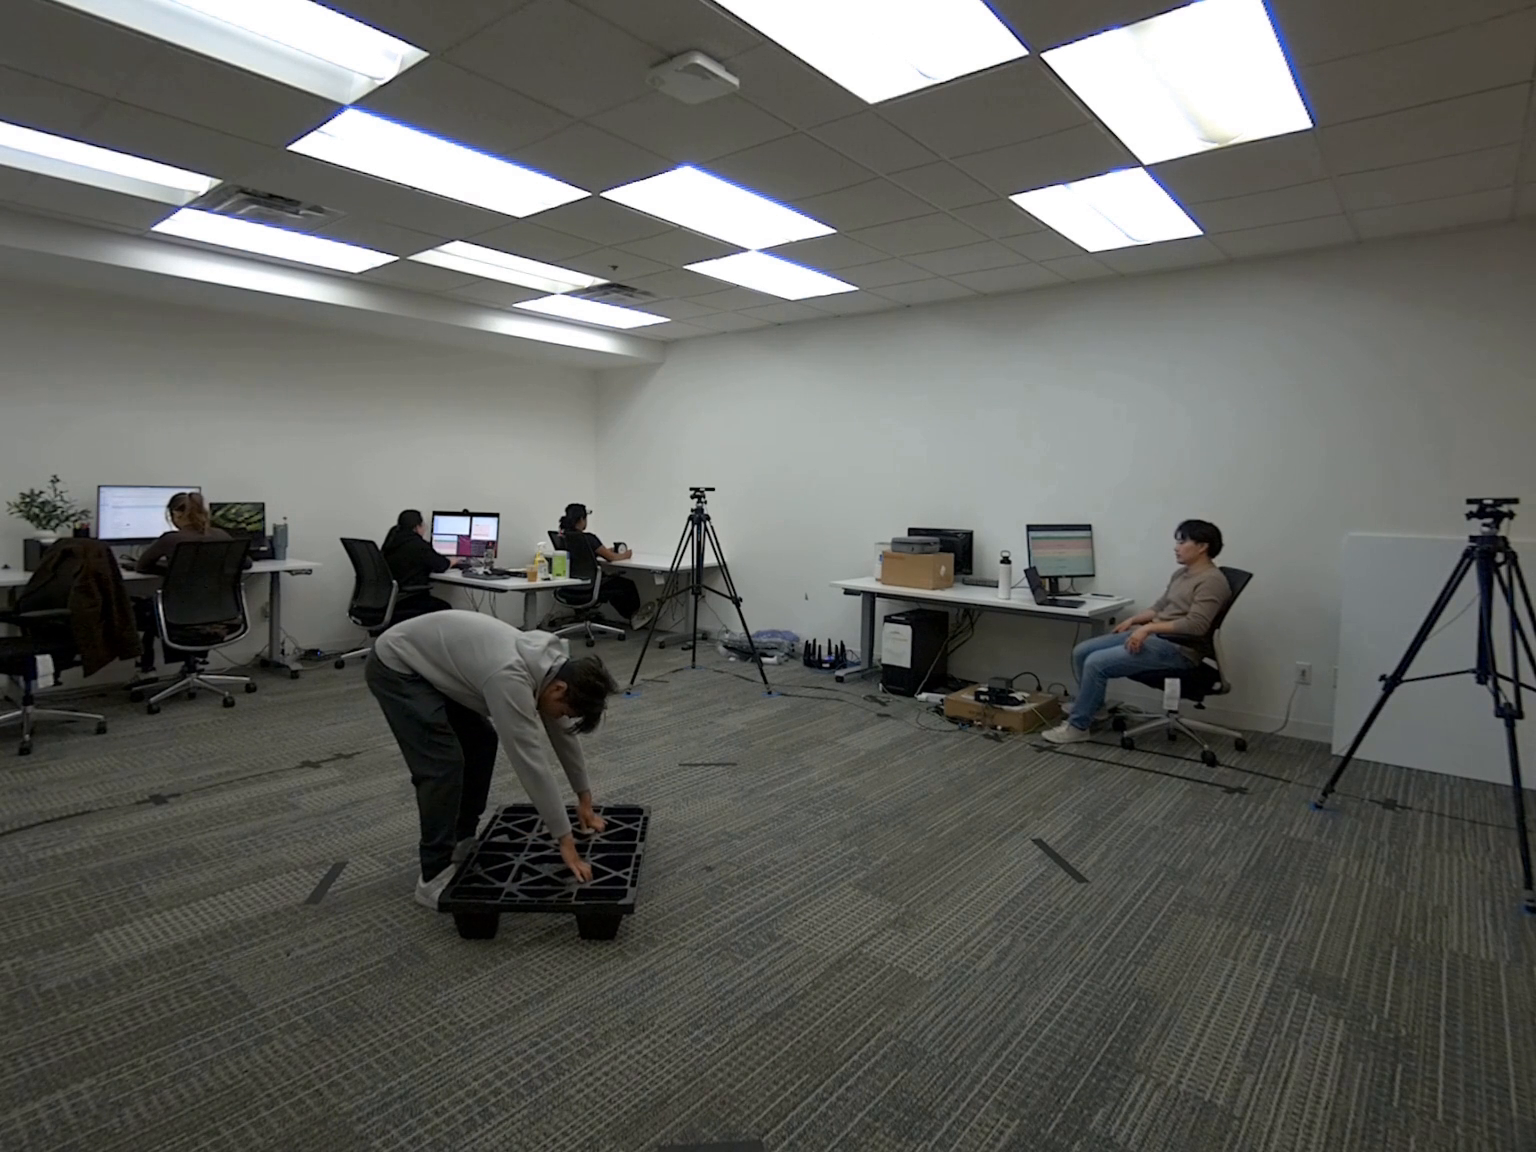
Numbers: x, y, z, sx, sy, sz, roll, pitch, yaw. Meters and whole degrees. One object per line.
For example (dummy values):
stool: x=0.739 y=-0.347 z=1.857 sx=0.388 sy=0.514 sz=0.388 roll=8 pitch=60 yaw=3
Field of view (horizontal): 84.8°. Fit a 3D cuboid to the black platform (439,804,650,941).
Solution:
black platform: x=-0.743 y=1.005 z=2.957 sx=0.604 sy=0.143 sz=0.810 roll=-1 pitch=6 yaw=-3
